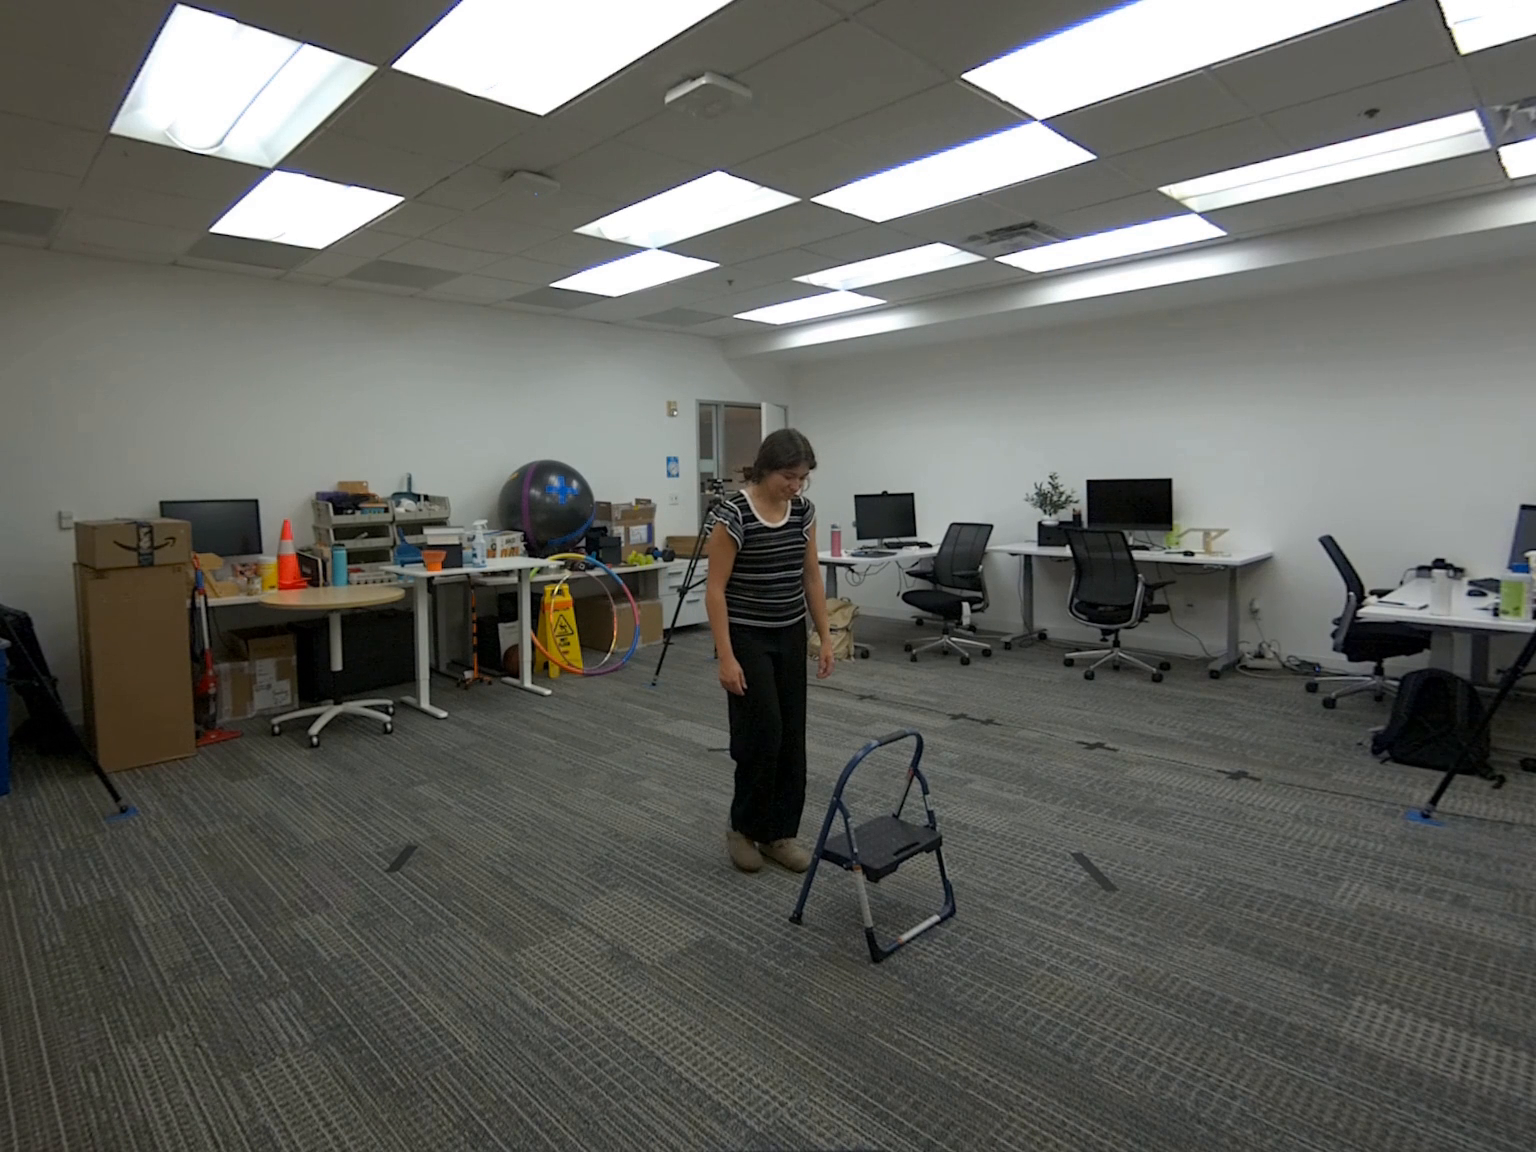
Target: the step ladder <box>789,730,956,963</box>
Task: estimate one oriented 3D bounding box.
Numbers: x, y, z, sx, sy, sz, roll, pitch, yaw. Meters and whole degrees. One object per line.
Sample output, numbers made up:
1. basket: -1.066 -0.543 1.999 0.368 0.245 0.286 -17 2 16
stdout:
1. step ladder: 0.331 0.782 2.695 0.419 0.604 0.360 -5 6 -44
